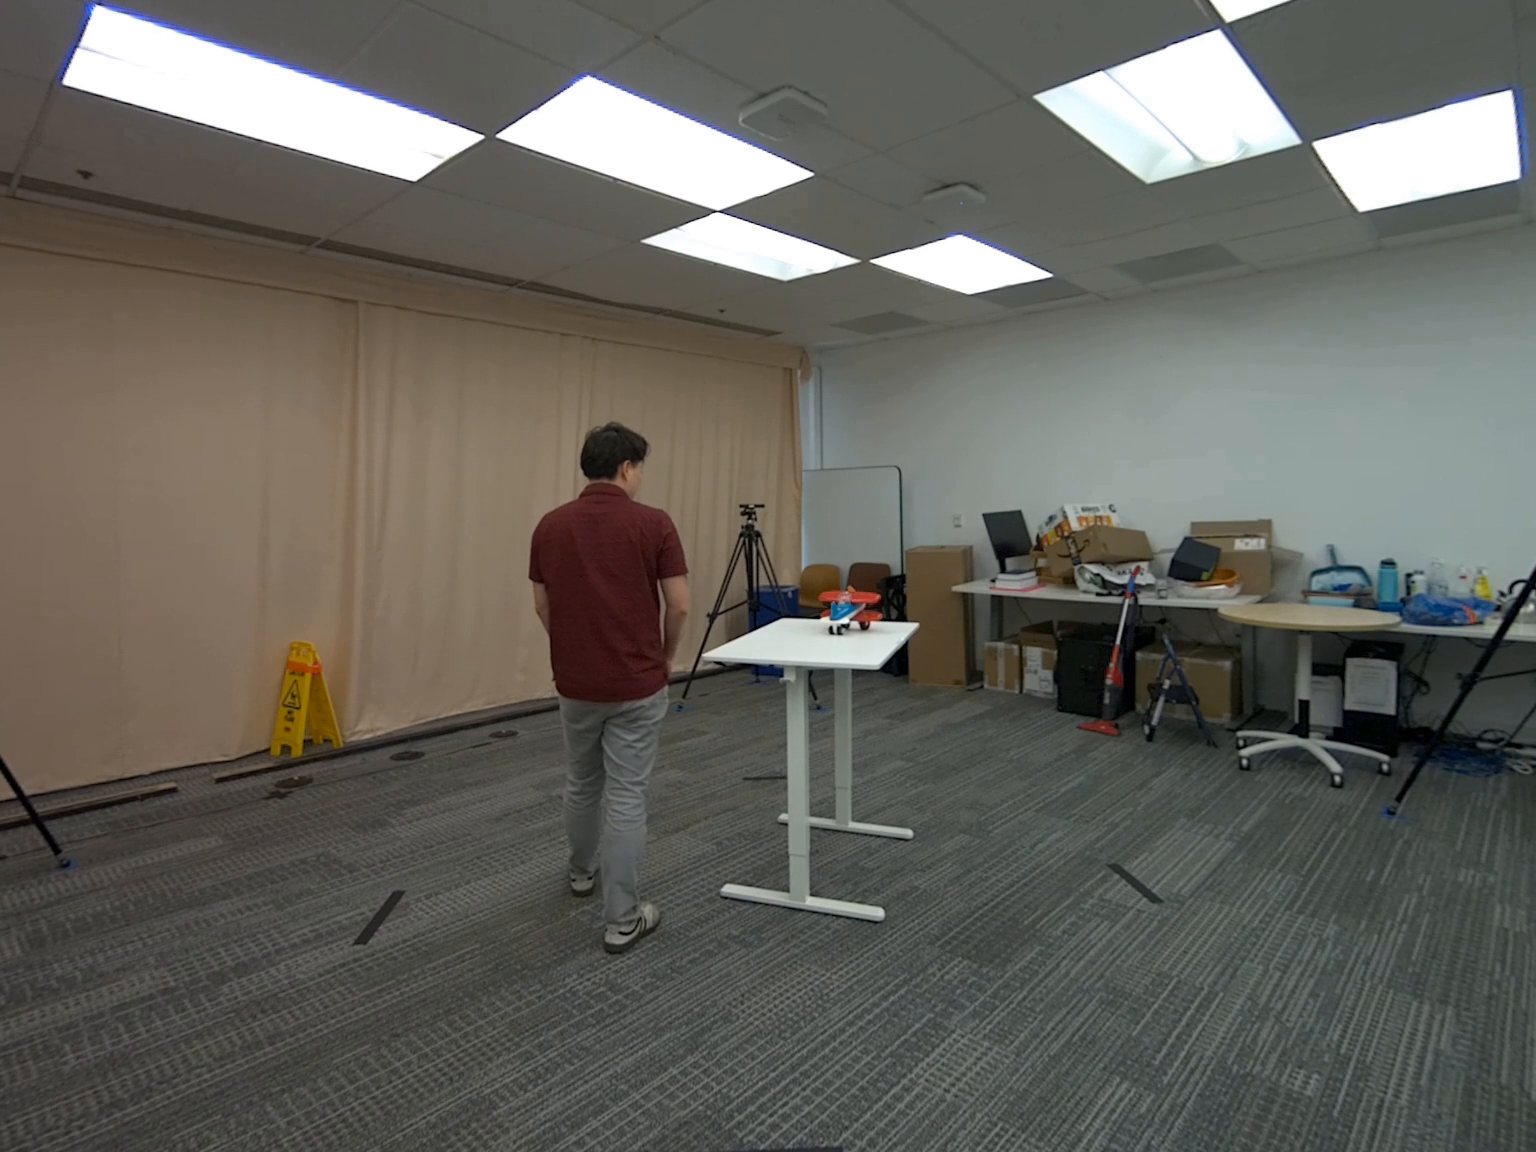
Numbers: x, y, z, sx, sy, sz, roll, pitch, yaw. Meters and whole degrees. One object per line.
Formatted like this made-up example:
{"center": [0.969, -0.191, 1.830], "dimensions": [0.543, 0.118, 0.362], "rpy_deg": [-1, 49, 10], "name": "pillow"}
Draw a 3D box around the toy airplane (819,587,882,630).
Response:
{"center": [0.331, 0.147, 3.341], "dimensions": [0.252, 0.156, 0.258], "rpy_deg": [1, 4, 4], "name": "toy airplane"}
